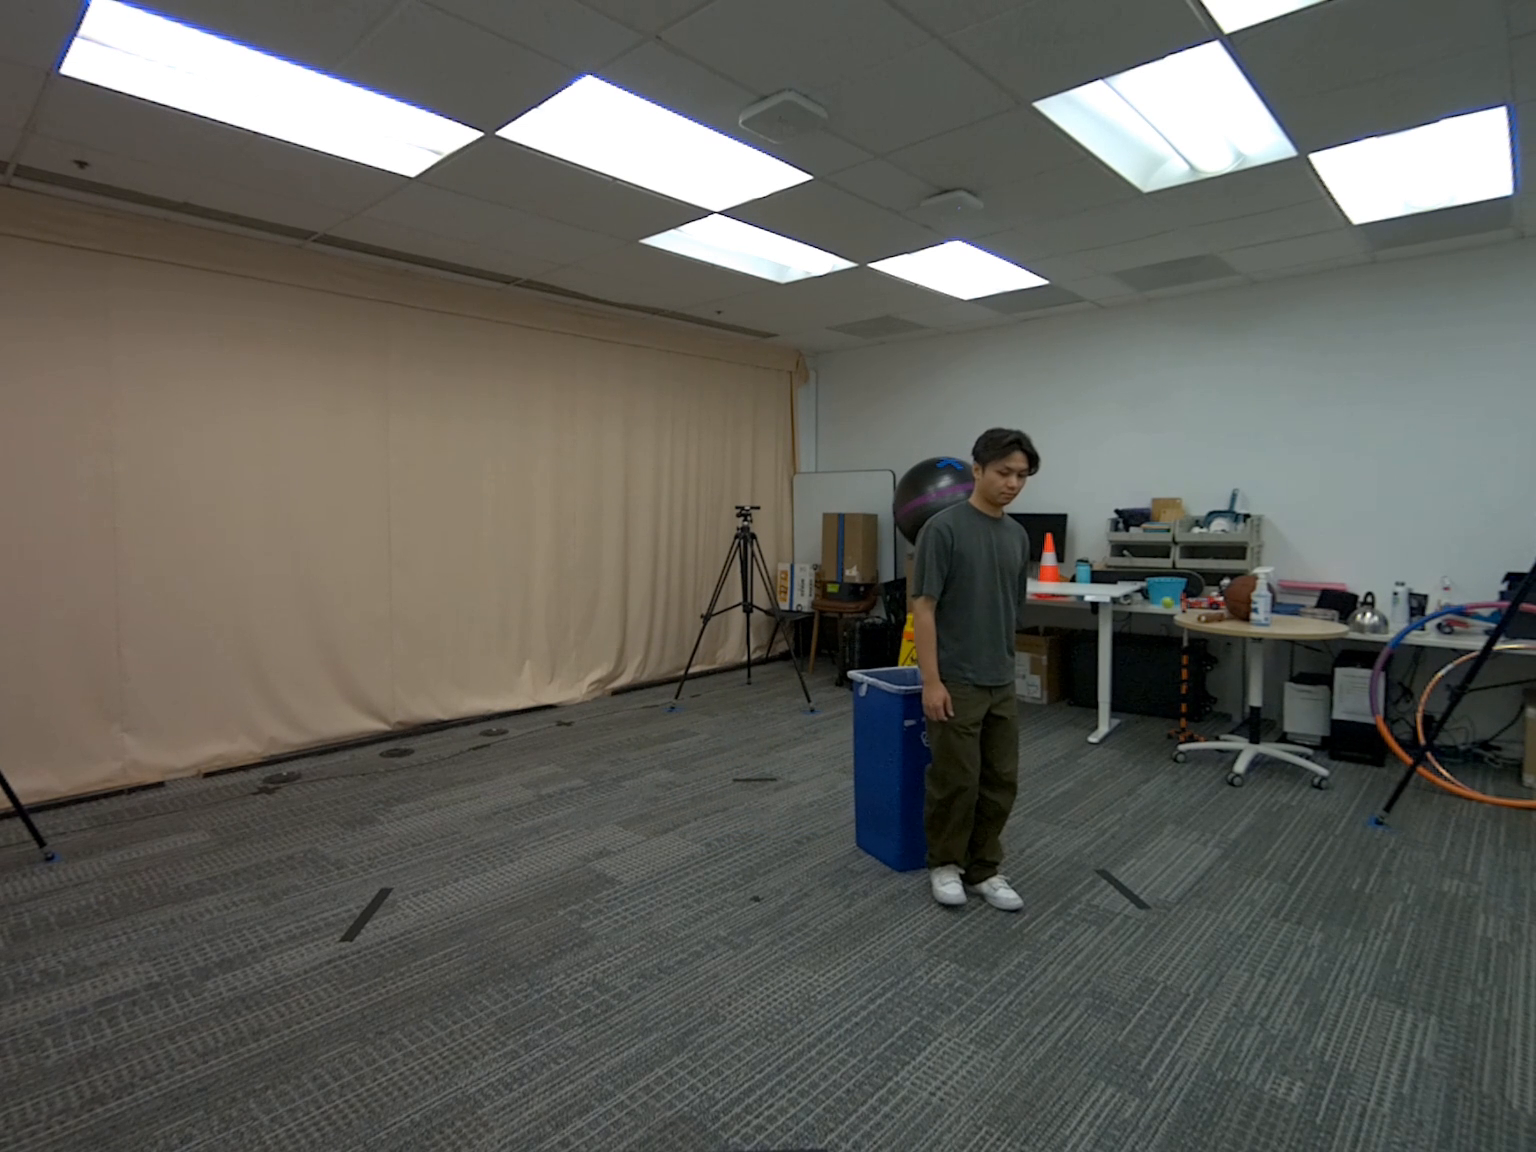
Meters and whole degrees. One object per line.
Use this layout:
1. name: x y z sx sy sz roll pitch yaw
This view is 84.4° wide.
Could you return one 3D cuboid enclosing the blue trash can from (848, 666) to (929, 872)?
1. blue trash can: 0.566 0.753 3.379 0.365 0.712 0.388 -1 4 -26
